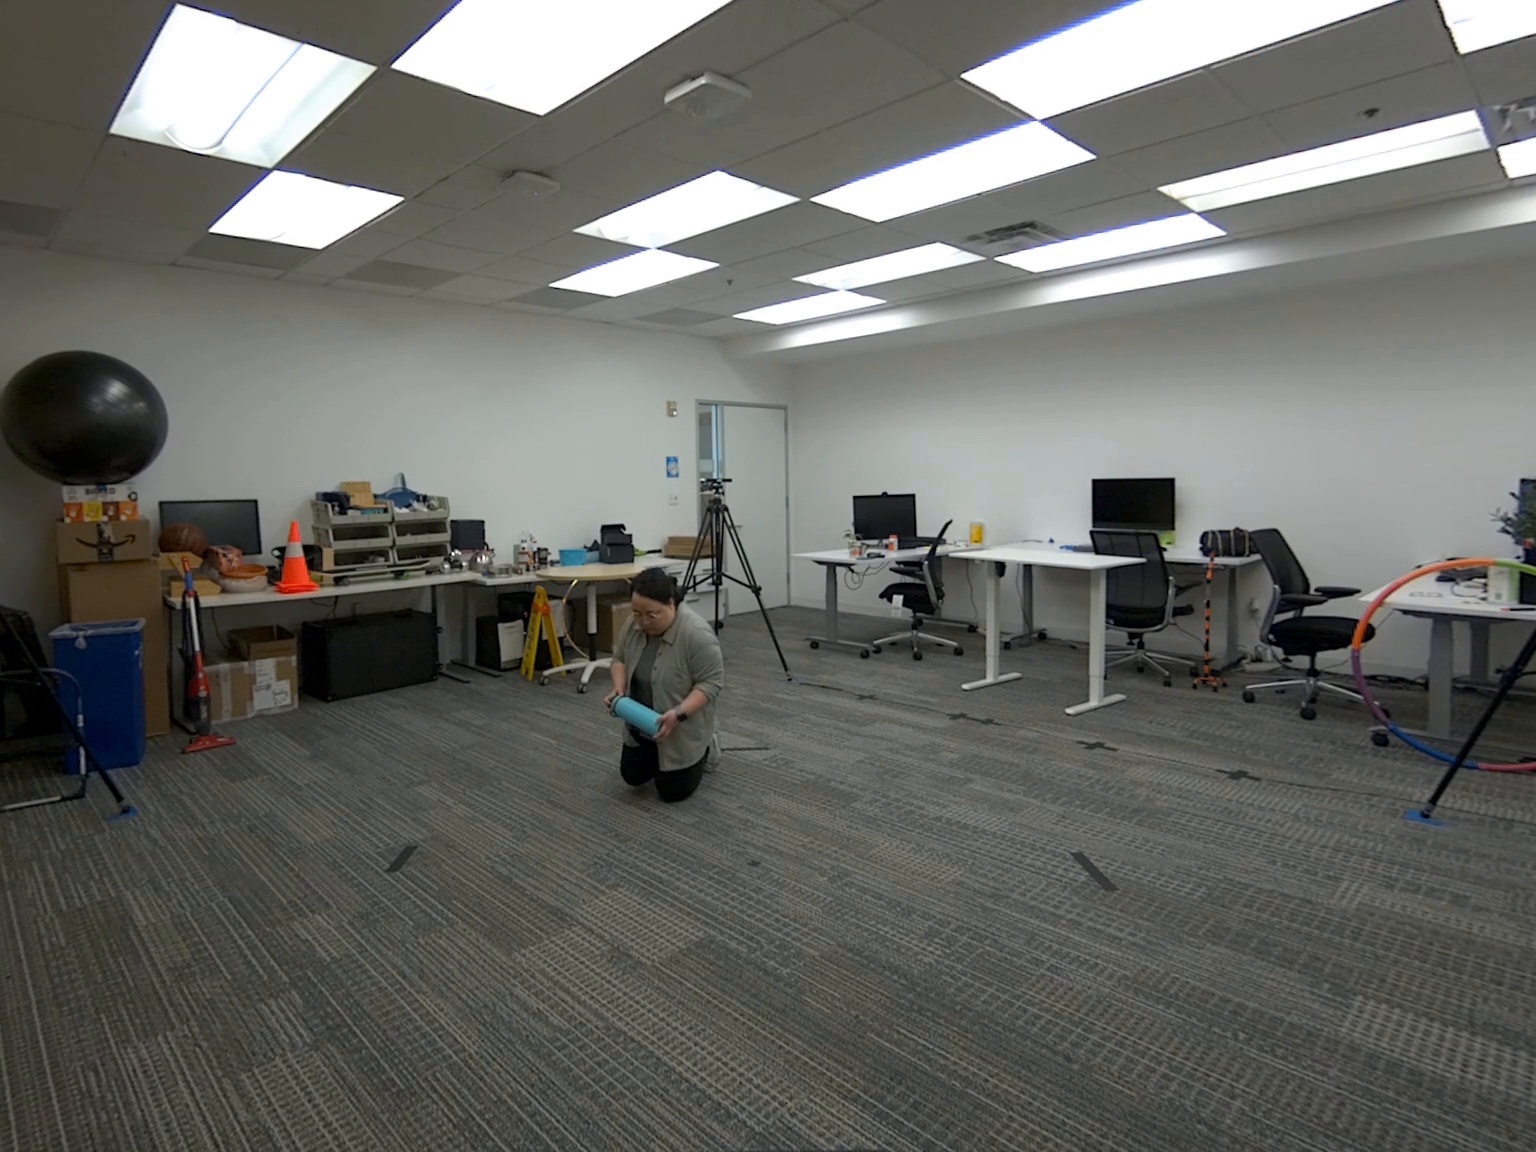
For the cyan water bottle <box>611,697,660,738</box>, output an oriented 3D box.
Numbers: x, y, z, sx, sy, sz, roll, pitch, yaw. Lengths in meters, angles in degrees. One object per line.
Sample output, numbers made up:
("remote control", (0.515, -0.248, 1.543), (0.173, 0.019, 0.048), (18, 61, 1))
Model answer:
("cyan water bottle", (-0.548, 0.580, 3.582), (0.293, 0.091, 0.090), (22, 17, 33))
